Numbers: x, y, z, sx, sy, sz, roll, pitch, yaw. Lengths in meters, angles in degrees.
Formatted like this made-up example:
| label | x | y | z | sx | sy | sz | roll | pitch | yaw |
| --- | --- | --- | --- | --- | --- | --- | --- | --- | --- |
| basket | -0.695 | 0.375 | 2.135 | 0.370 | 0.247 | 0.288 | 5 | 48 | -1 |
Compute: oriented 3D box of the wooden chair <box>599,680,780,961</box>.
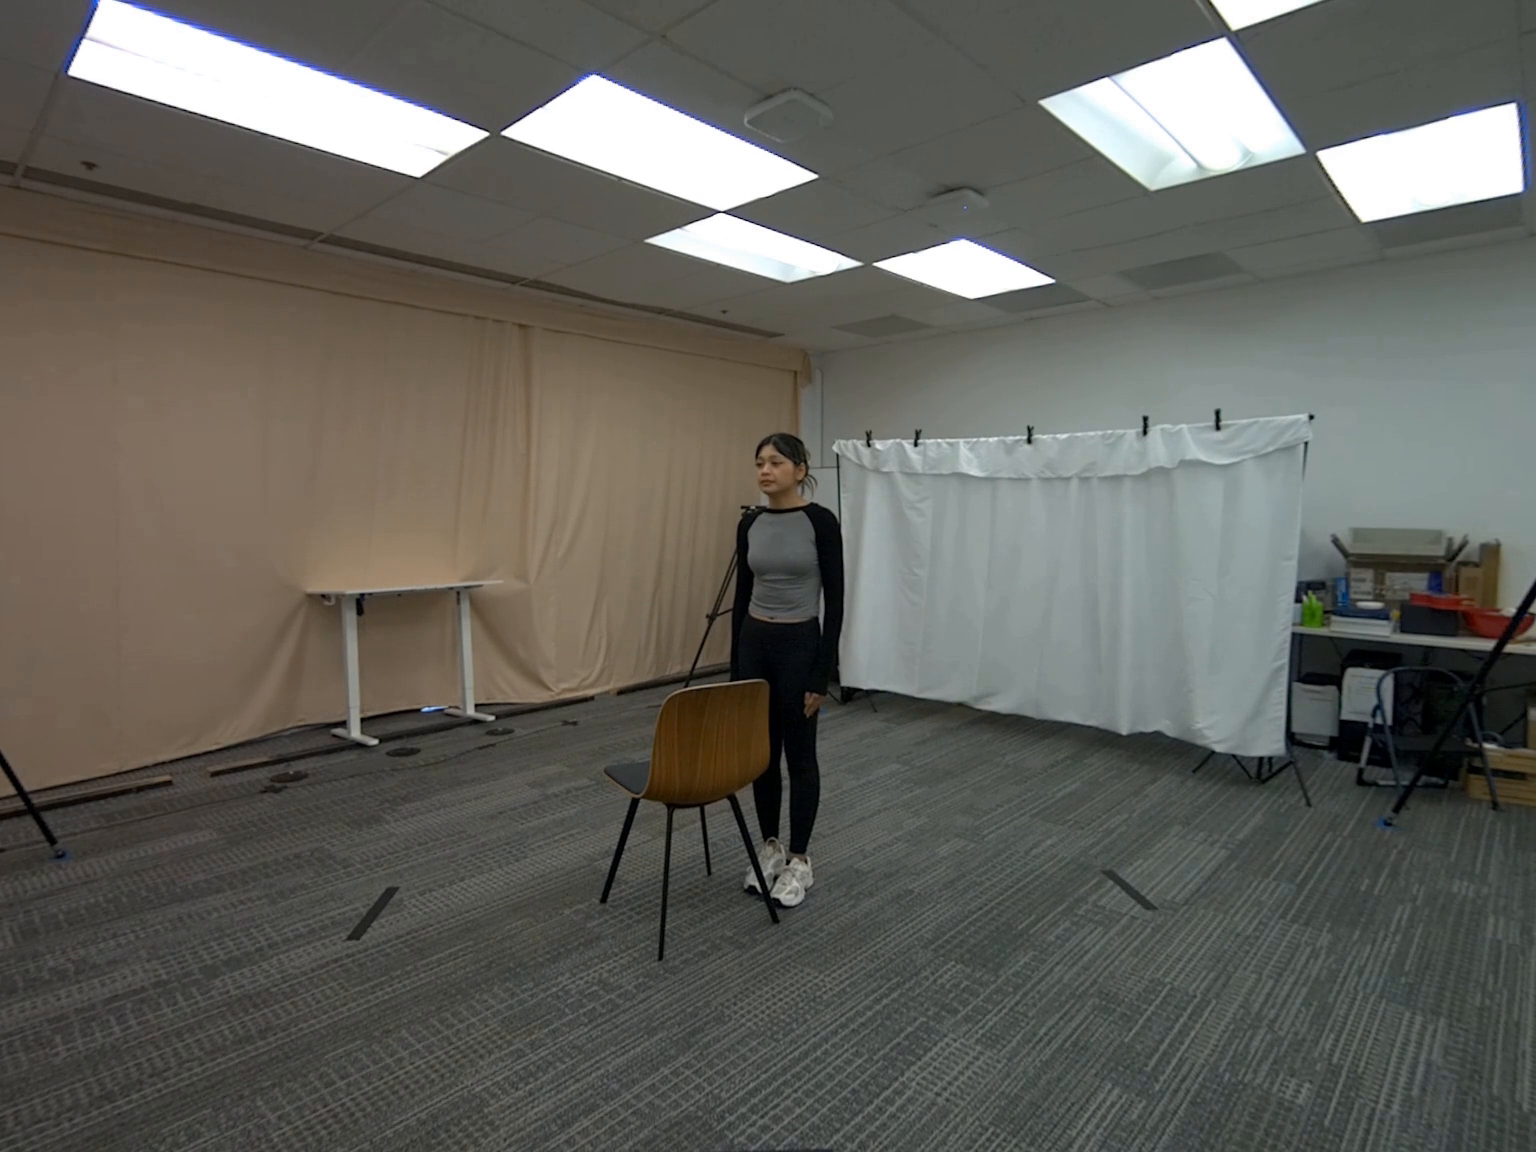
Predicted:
| label | x | y | z | sx | sy | sz | roll | pitch | yaw |
| --- | --- | --- | --- | --- | --- | --- | --- | --- | --- |
| wooden chair | -0.284 | 0.727 | 2.858 | 0.465 | 0.874 | 0.540 | -3 | 8 | -33 |
